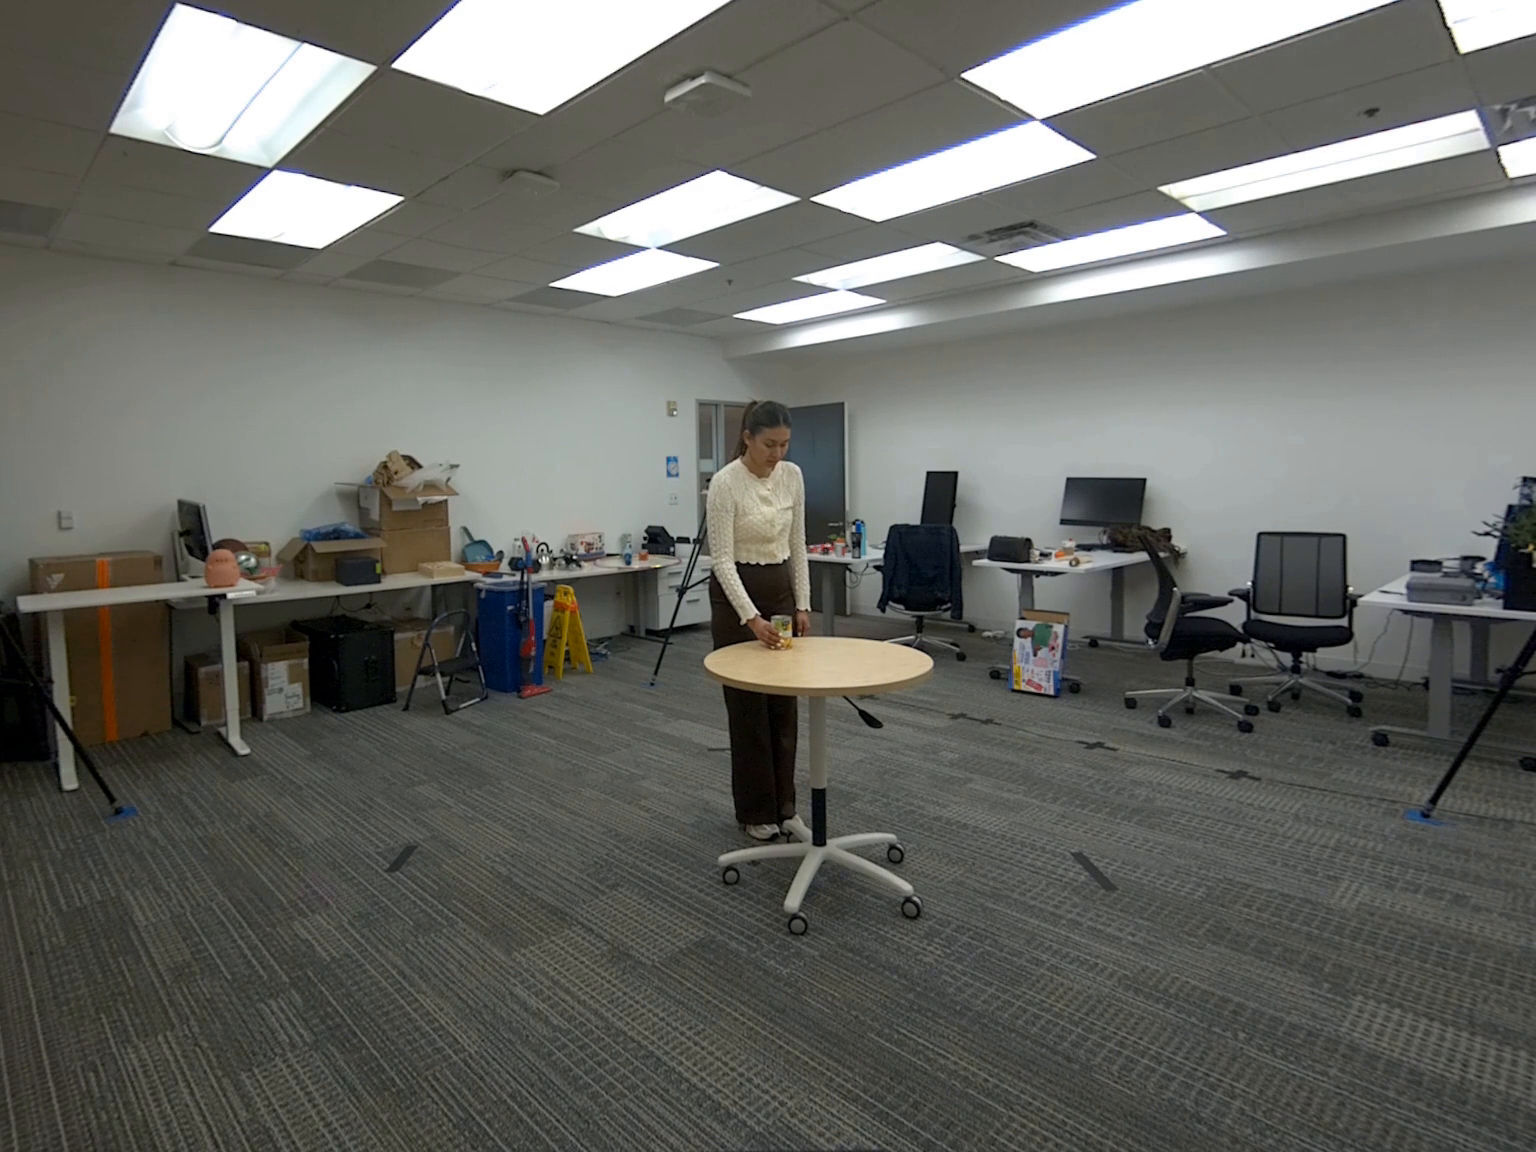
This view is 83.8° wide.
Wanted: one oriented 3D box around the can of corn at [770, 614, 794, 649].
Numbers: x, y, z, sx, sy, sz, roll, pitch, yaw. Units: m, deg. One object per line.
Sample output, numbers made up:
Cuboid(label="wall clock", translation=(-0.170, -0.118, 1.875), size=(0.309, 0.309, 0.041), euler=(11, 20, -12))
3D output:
Cuboid(label="can of corn", translation=(0.039, 0.205, 3.067), size=(0.074, 0.110, 0.074), euler=(-4, 5, -1))
